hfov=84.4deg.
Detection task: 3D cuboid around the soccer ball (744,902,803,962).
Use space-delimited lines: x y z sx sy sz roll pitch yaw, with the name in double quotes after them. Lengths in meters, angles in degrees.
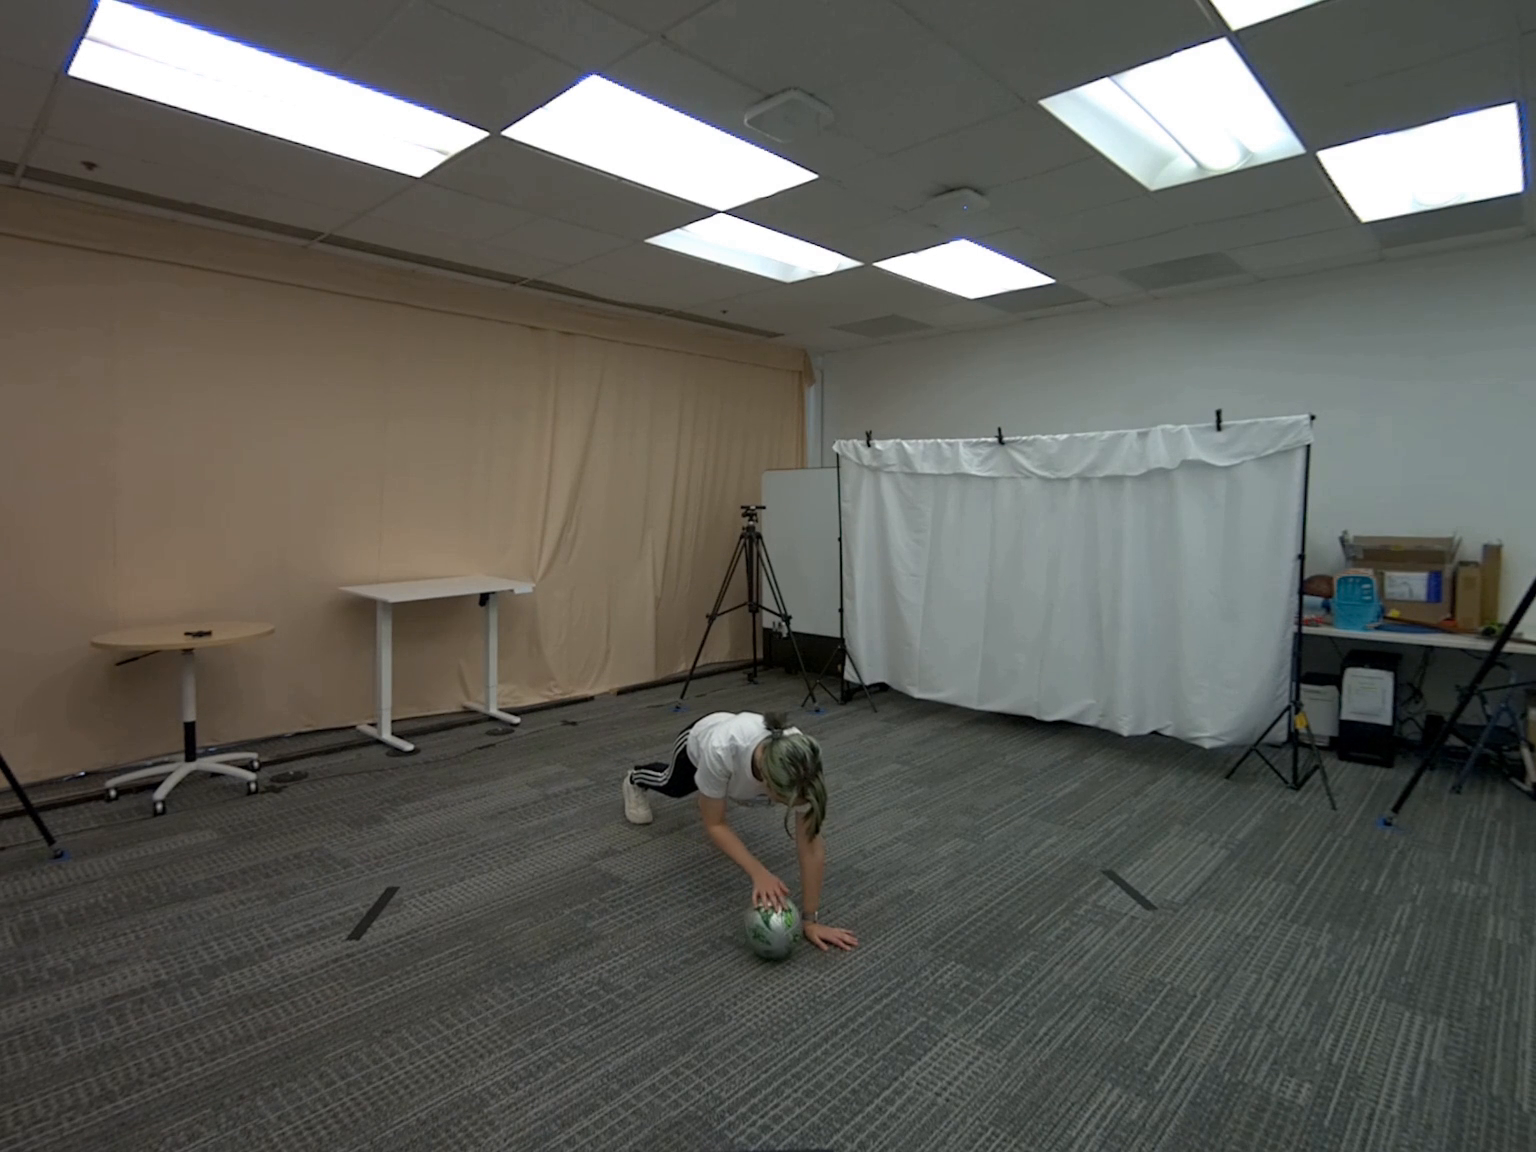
0.010 1.081 2.607 0.187 0.187 0.188 0 4 -2 "soccer ball"
